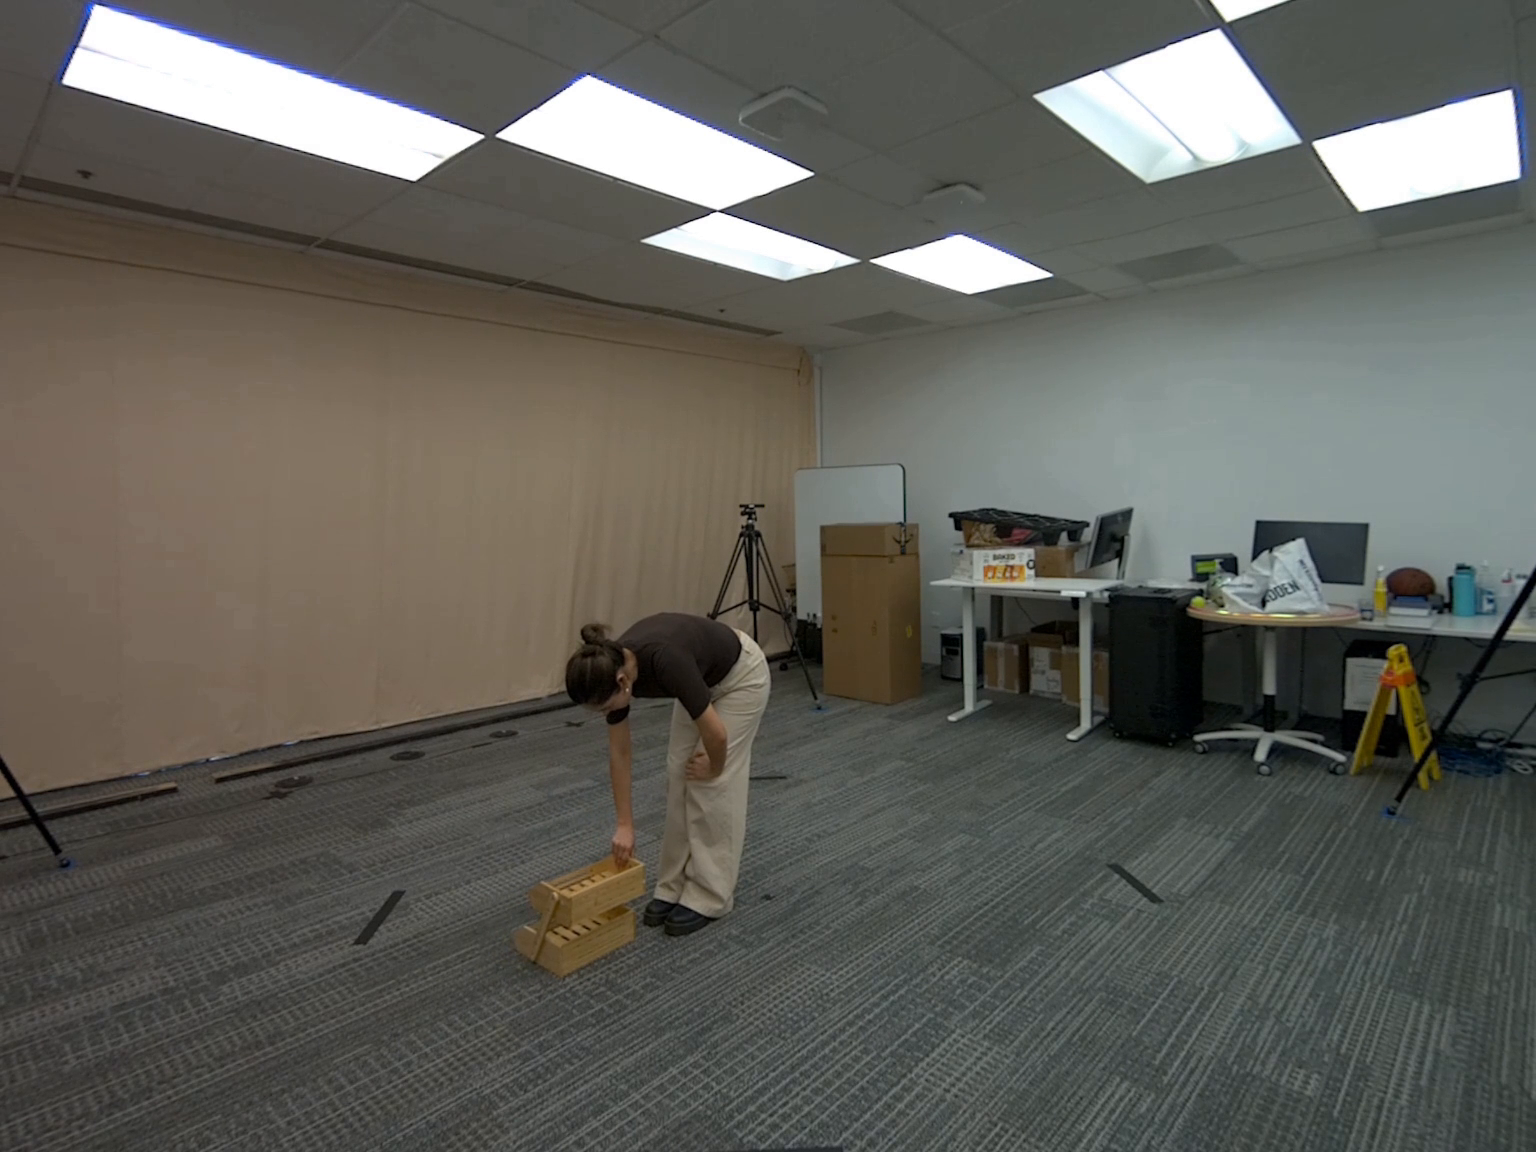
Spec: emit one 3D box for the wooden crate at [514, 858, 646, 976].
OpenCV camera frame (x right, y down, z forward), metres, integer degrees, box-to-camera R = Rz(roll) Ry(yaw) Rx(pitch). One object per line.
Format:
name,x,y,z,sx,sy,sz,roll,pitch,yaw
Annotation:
wooden crate,-0.599,1.045,2.669,0.312,0.272,0.315,4,6,42
